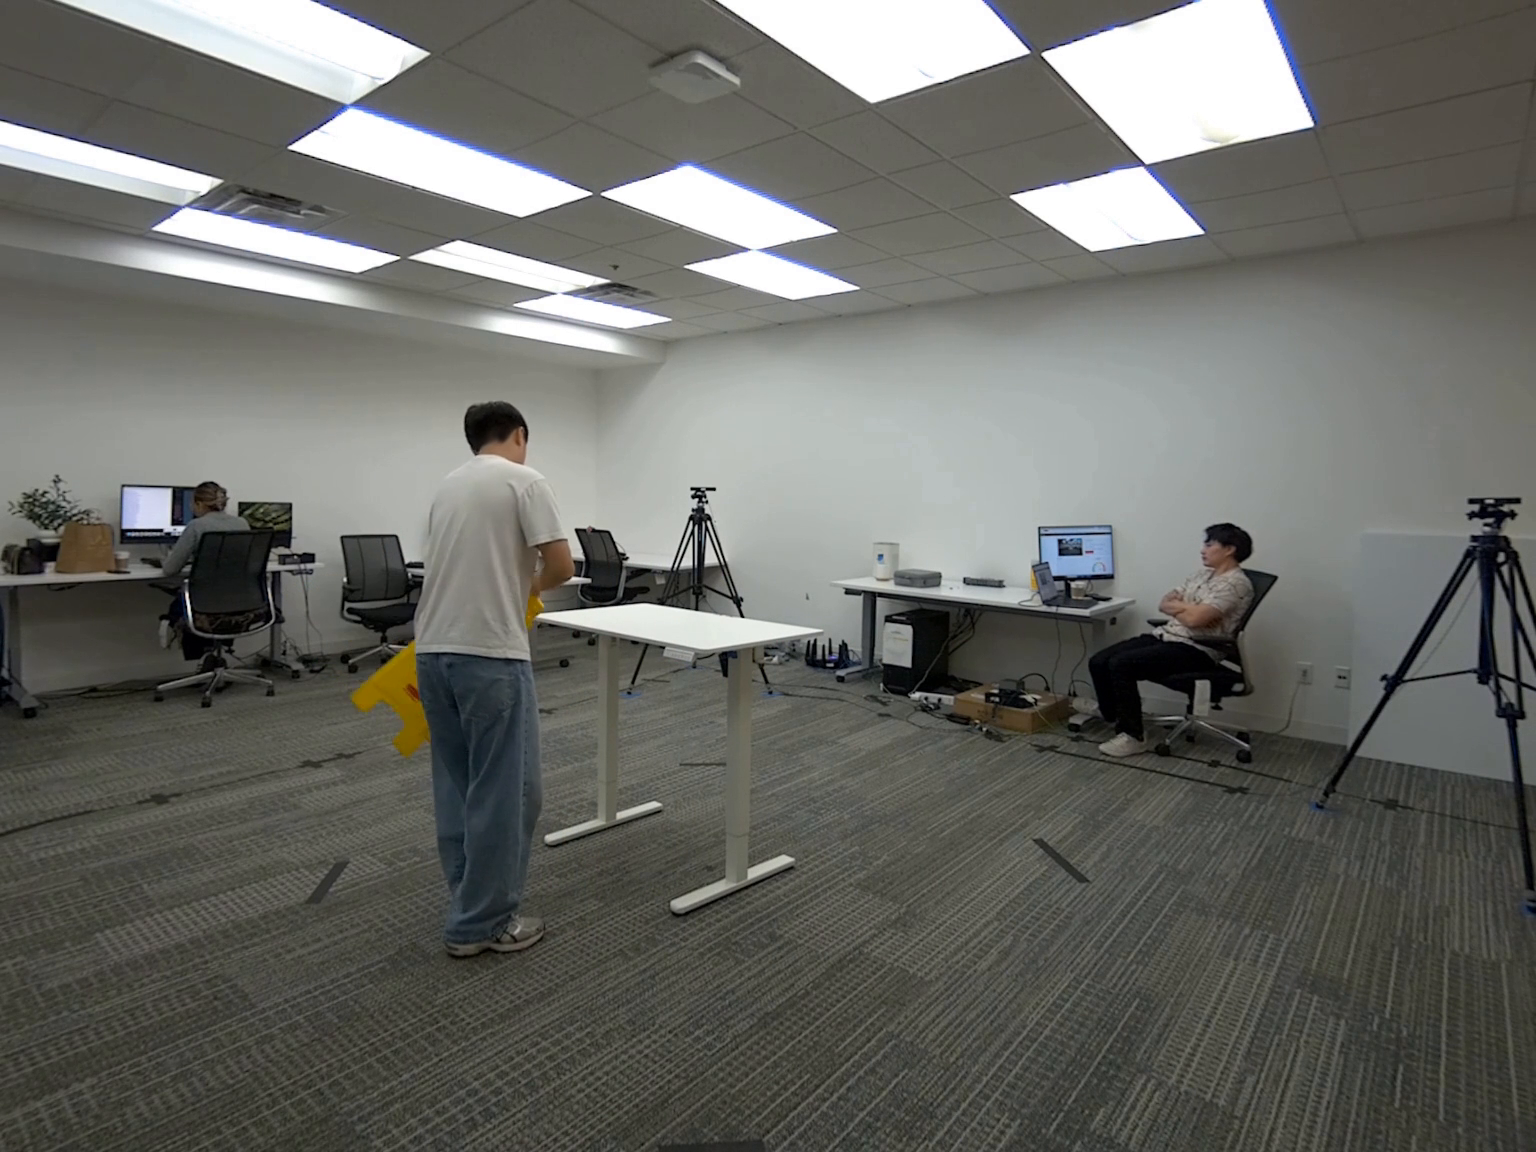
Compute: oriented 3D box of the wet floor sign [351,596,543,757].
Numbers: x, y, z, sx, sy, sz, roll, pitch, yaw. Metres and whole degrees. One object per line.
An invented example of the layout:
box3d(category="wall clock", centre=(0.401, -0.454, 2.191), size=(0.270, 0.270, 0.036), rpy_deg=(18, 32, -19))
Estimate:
box3d(category="wet floor sign", centre=(-1.041, 0.268, 2.871), size=(0.646, 0.283, 0.289), rpy_deg=(-44, -1, 0))
